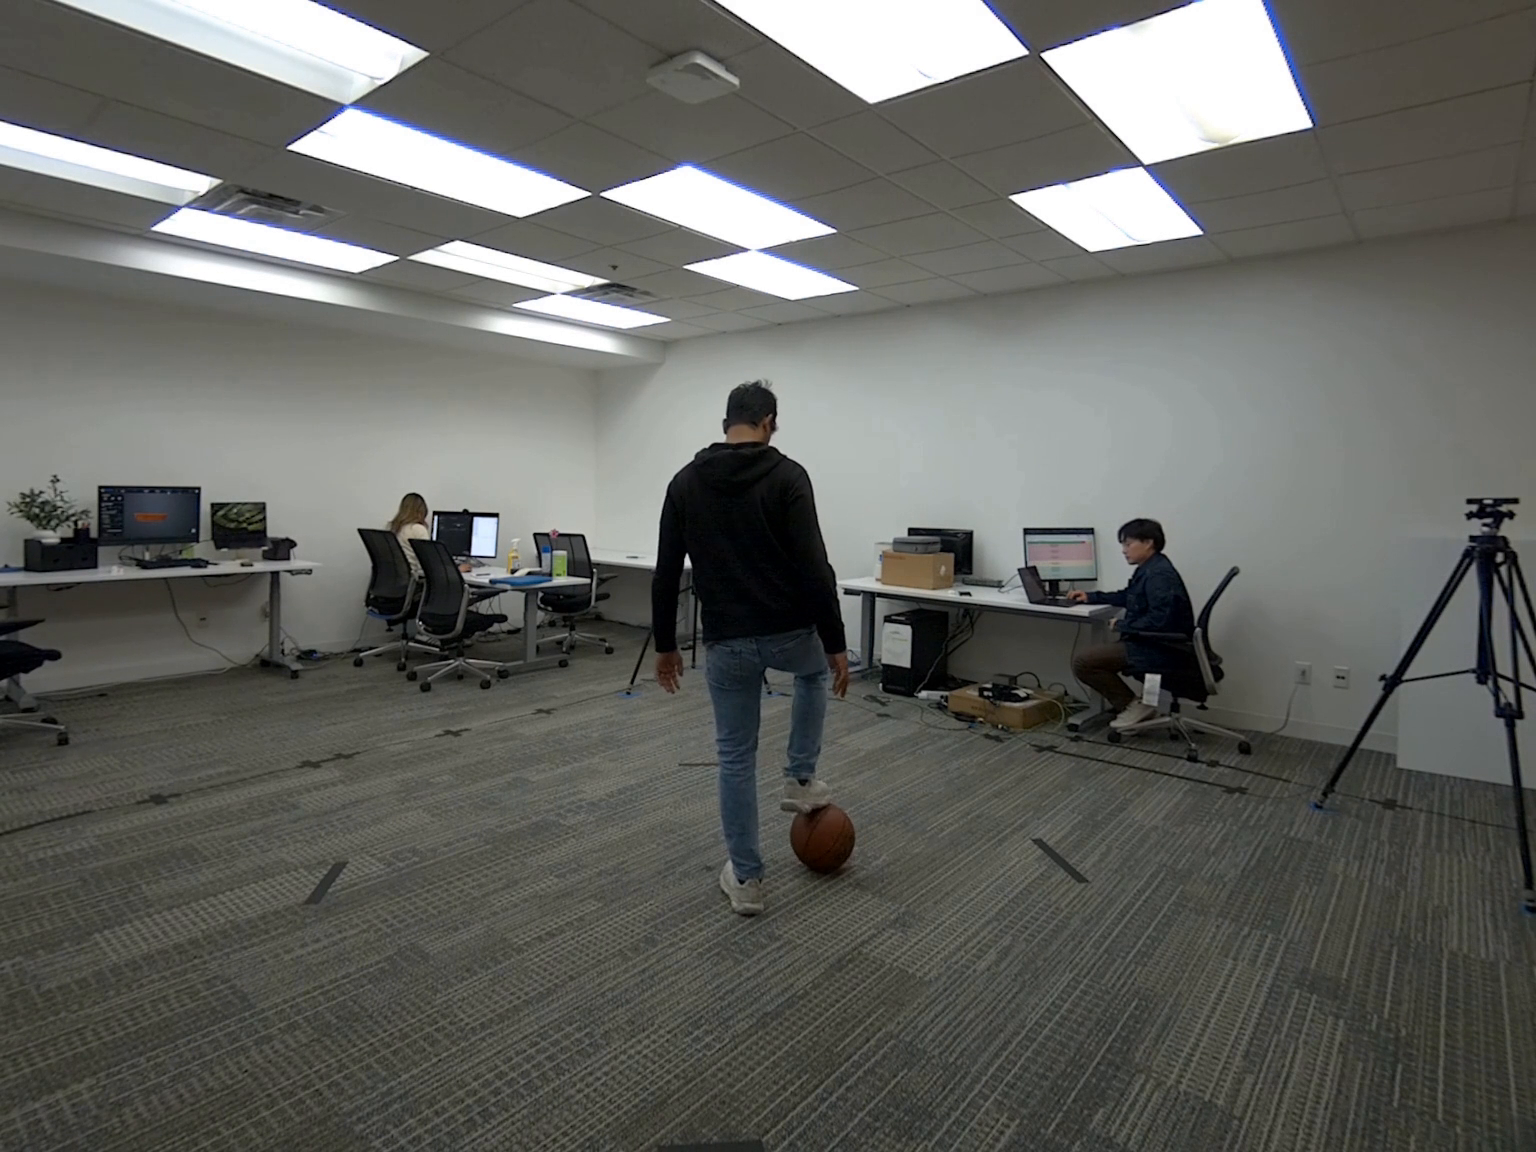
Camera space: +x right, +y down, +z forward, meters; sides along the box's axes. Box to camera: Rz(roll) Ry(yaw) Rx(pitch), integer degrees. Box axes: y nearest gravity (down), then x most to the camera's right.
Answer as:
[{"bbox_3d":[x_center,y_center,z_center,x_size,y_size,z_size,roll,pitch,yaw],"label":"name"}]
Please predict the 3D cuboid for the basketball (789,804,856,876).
[{"bbox_3d":[0.195,0.954,3.143,0.235,0.235,0.237,1,4,-2],"label":"basketball"}]
